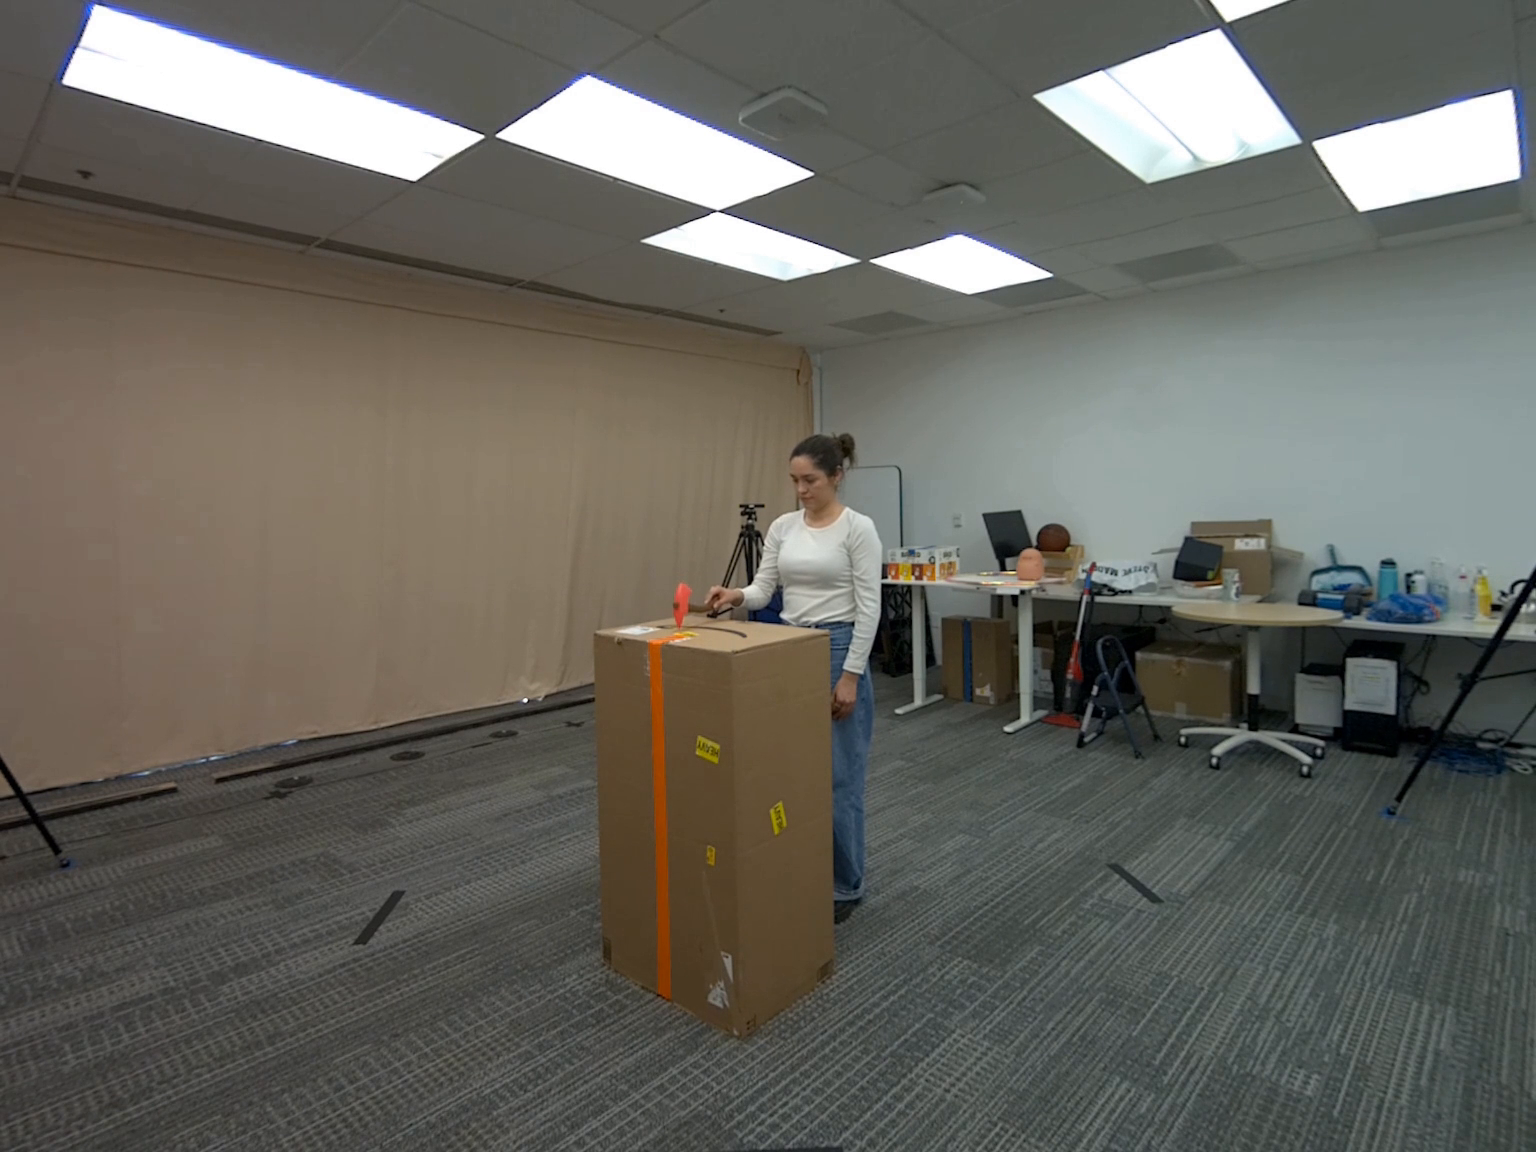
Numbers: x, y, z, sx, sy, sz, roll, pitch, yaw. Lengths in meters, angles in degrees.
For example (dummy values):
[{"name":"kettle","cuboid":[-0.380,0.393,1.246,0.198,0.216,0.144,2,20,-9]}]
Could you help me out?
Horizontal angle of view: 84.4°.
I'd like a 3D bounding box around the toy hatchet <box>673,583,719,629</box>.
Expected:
[{"name":"toy hatchet","cuboid":[-0.219,0.063,2.611,0.030,0.130,0.265,-4,10,24]}]
